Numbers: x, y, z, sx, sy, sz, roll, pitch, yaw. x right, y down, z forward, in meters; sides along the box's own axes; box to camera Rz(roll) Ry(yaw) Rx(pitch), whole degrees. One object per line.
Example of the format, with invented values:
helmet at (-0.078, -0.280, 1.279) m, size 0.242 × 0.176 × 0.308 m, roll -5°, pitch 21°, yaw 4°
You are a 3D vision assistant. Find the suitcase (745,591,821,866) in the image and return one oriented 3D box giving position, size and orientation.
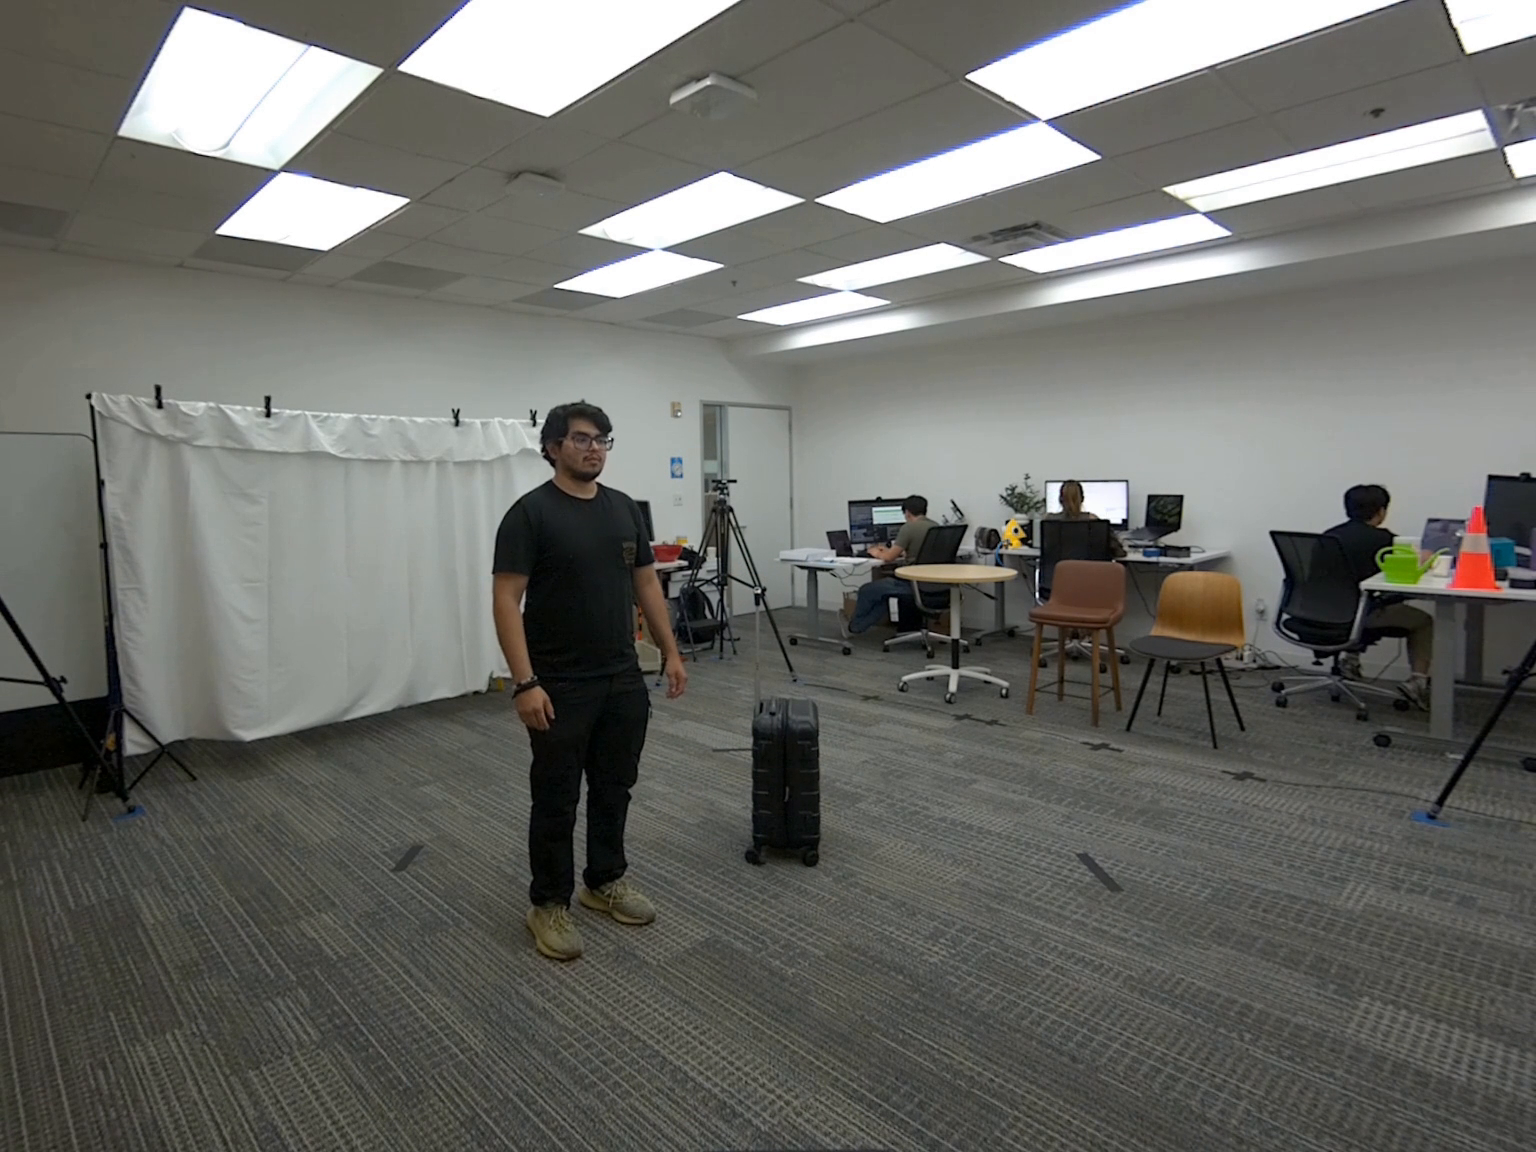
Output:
suitcase at (0.074, 0.554, 3.237) m, size 0.258 × 0.975 × 0.384 m, roll 1°, pitch 4°, yaw 3°
